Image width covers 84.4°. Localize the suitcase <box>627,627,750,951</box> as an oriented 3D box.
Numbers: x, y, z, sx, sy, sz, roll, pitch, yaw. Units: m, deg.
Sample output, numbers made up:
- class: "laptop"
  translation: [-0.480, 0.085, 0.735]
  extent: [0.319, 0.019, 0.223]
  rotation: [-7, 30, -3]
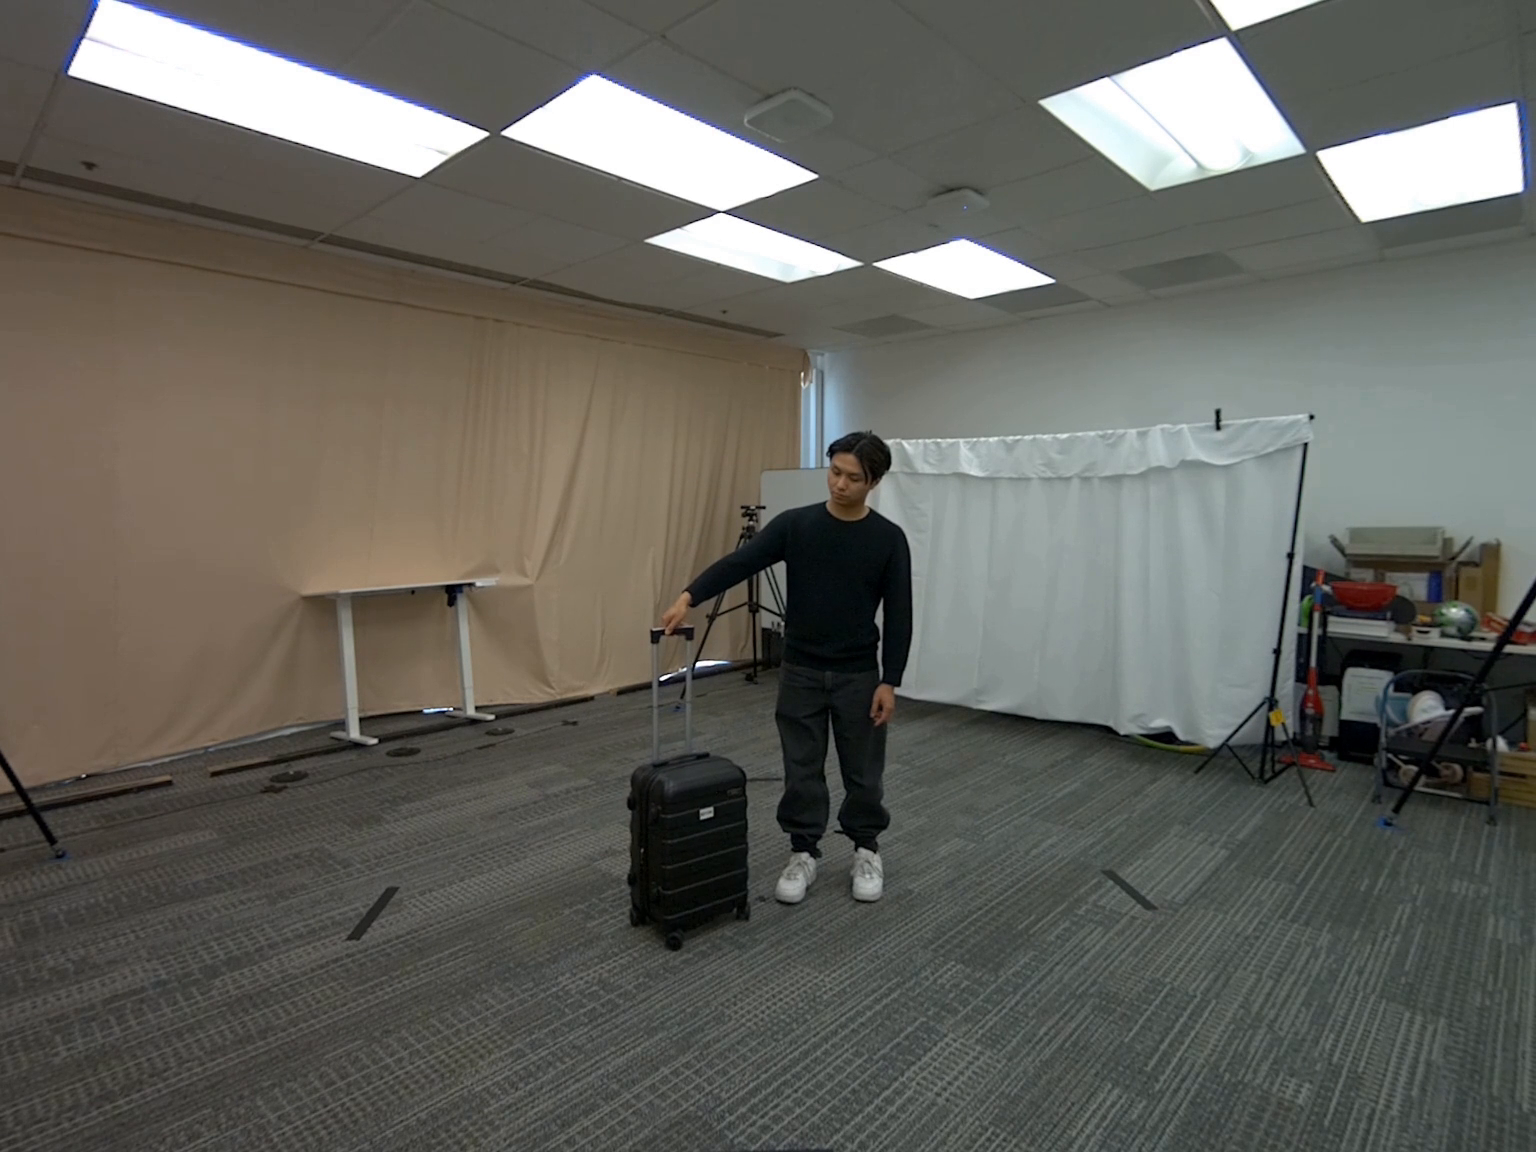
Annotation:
- class: "suitcase"
  translation: [-0.261, 0.685, 2.789]
  extent: [0.373, 0.976, 0.265]
  rotation: [-3, 5, -35]
